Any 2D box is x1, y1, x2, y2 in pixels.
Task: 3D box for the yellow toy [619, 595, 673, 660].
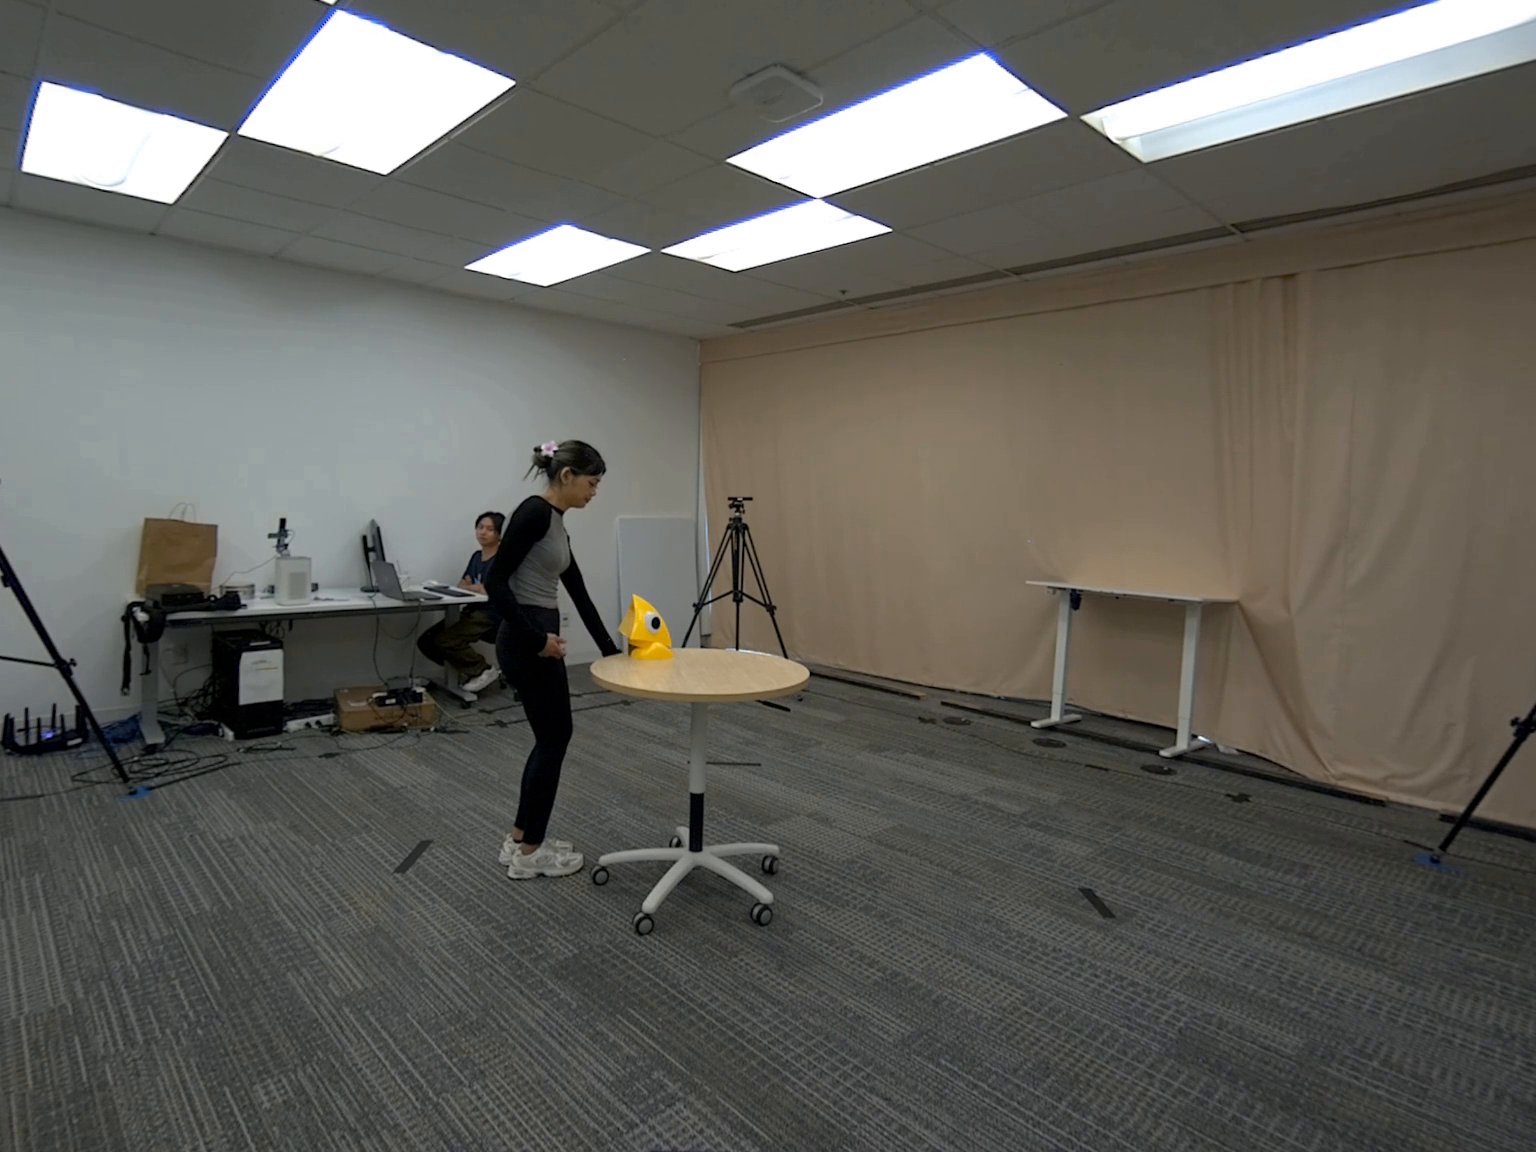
[{"bbox_3d":[-0.464,0.182,3.168,0.190,0.230,0.209,1,4,-23],"label":"yellow toy"}]
